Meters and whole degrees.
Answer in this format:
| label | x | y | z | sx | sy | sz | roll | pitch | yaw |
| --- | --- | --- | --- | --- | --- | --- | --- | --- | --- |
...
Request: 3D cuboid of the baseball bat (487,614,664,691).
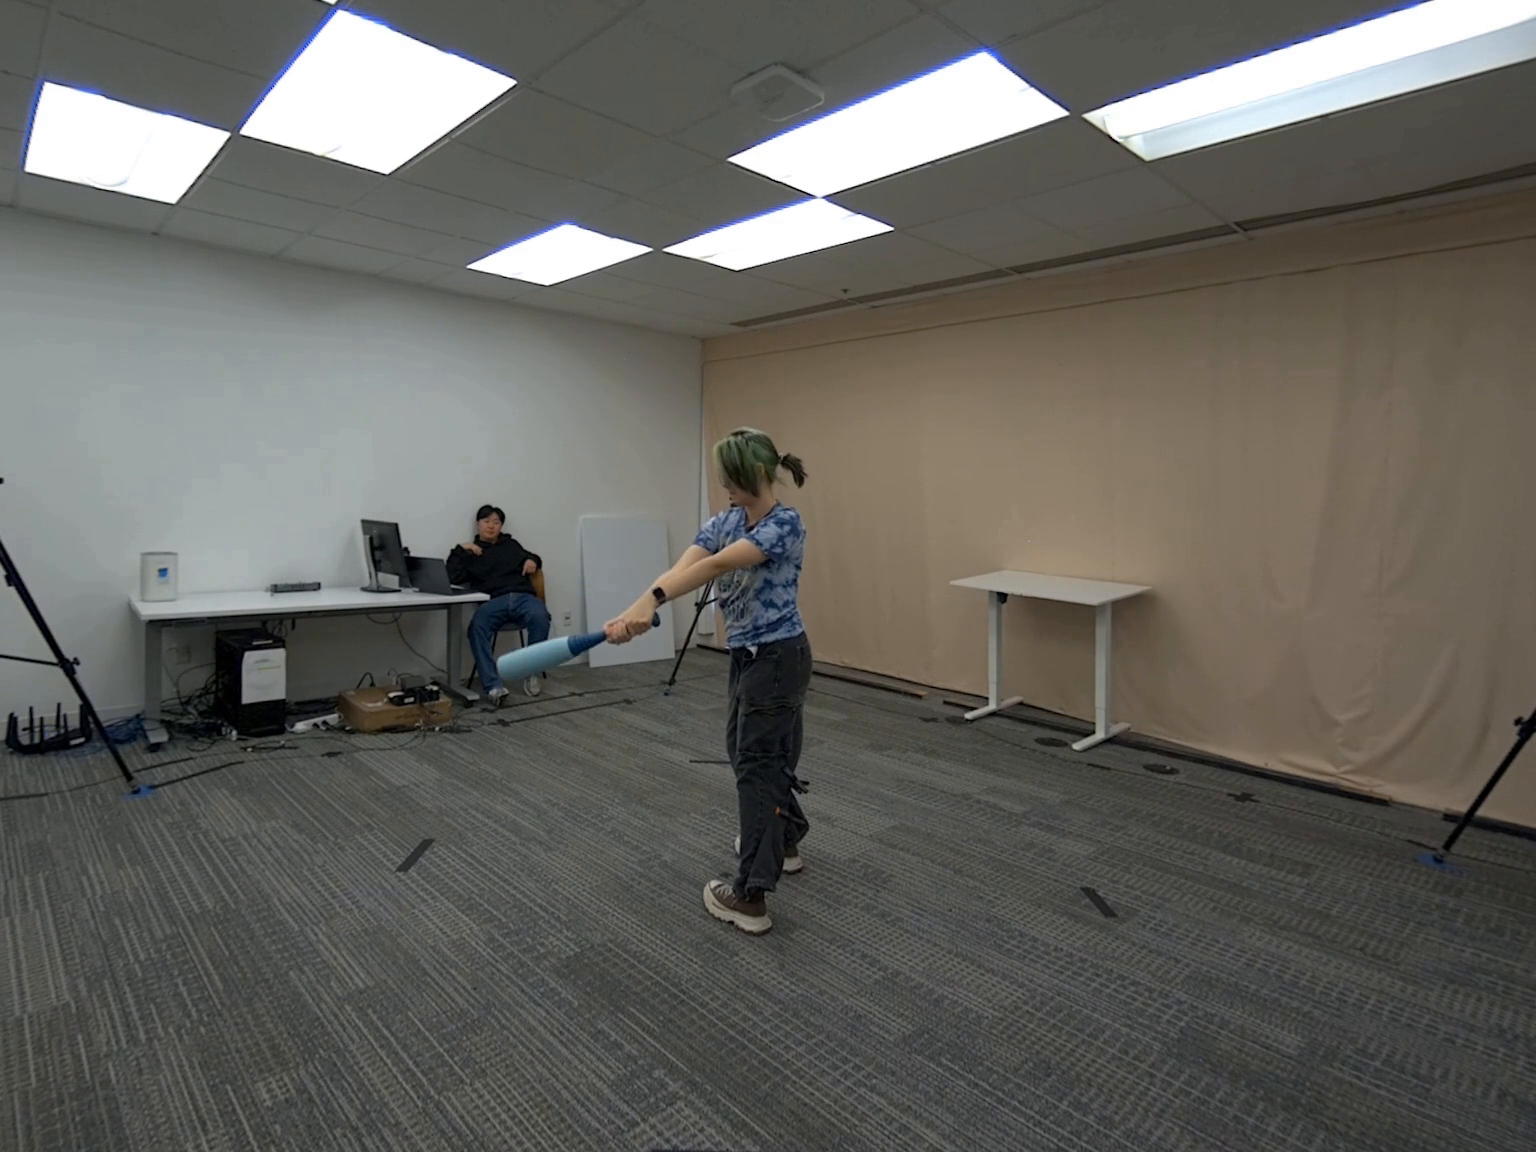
| label | x | y | z | sx | sy | sz | roll | pitch | yaw |
| --- | --- | --- | --- | --- | --- | --- | --- | --- | --- |
| baseball bat | -0.598 | 0.227 | 2.616 | 0.546 | 0.089 | 0.088 | -18 | 0 | 12 |
